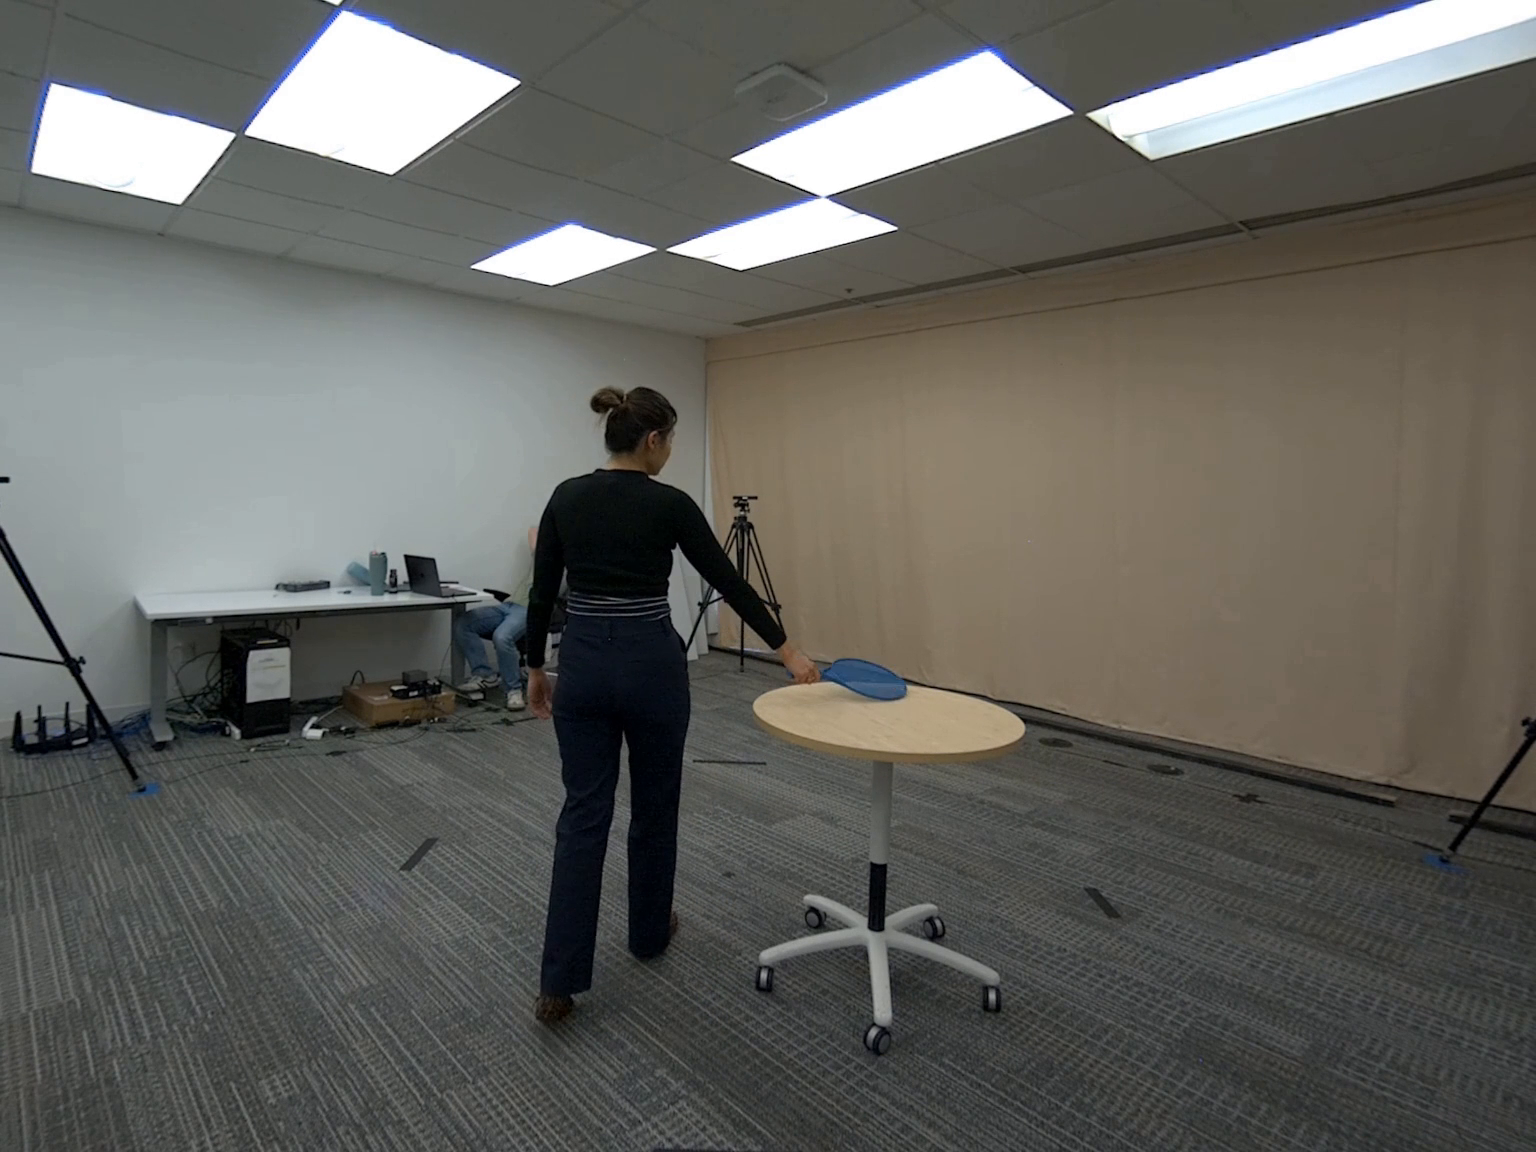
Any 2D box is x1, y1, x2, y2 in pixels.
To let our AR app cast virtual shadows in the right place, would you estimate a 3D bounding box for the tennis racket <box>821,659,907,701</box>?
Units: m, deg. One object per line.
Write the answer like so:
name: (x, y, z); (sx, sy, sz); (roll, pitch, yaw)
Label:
tennis racket: (0.251, 0.317, 2.598); (0.423, 0.031, 0.220); (5, 23, -32)
